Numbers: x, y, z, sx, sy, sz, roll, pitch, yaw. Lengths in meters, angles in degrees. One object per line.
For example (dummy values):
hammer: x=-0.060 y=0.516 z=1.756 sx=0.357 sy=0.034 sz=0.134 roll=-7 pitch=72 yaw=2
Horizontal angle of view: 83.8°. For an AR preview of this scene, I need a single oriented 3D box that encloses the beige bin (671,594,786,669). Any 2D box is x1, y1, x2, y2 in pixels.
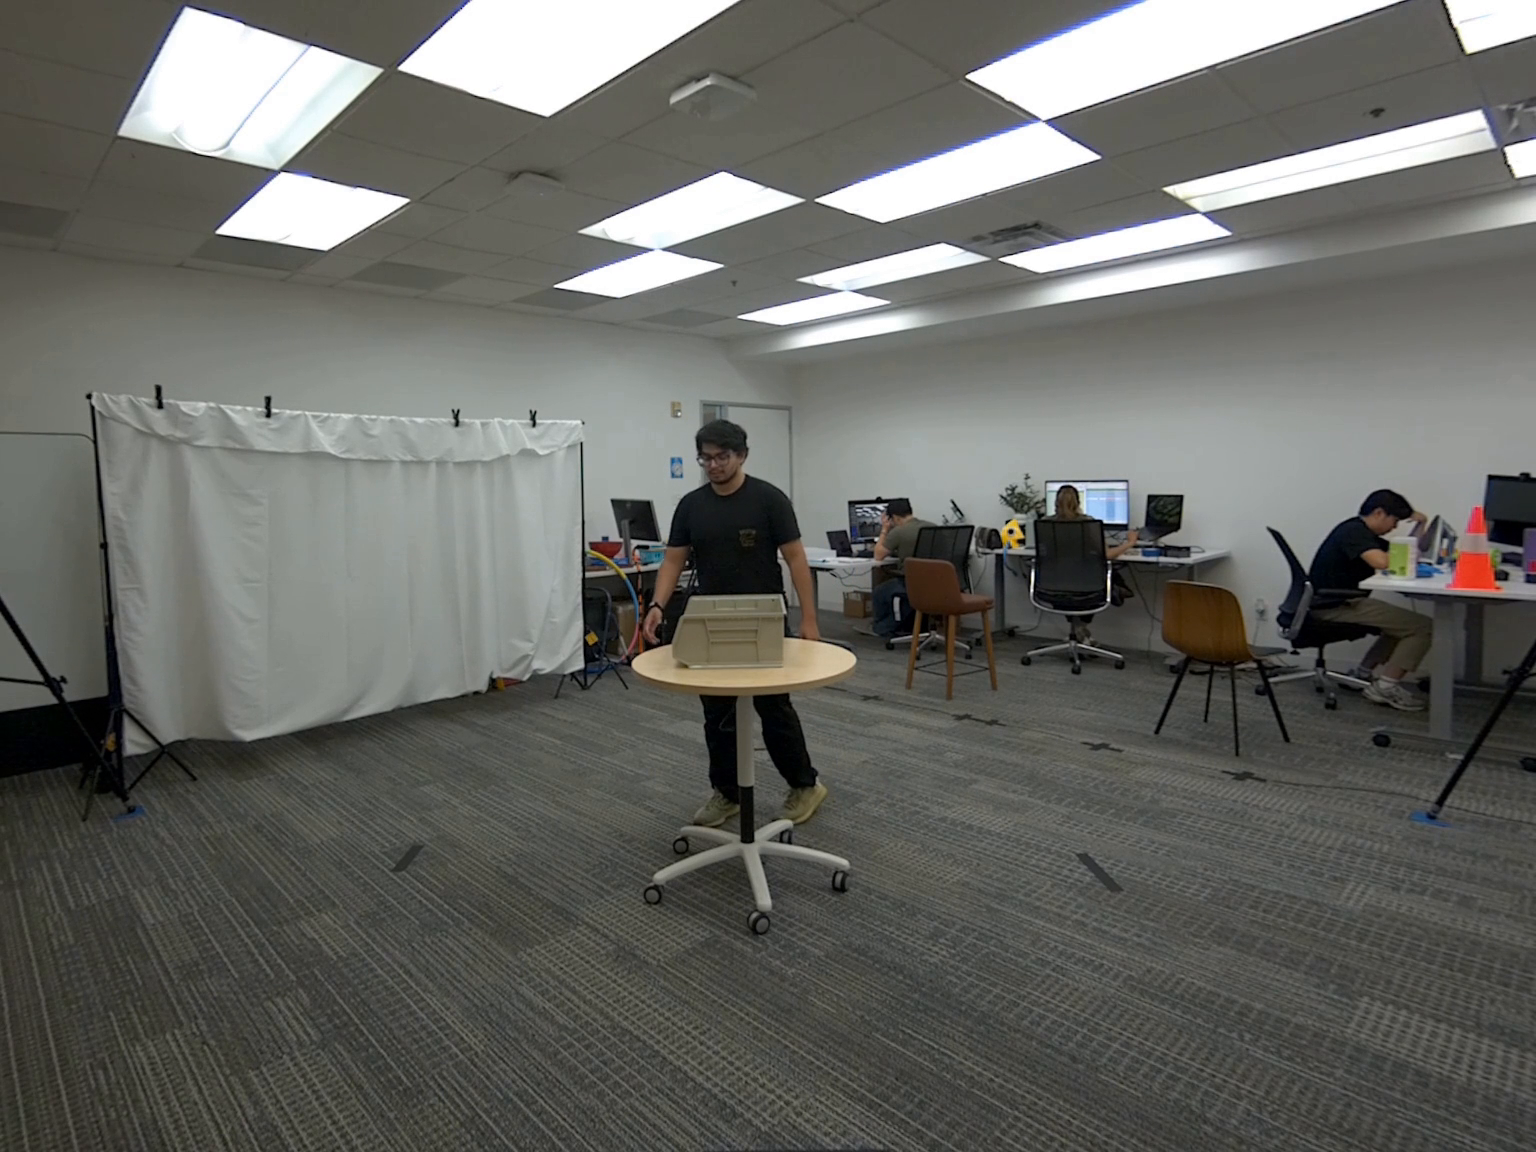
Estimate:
beige bin: x=-0.142 y=0.191 z=2.993 sx=0.377 sy=0.188 sz=0.424 roll=0 pitch=6 yaw=-1
